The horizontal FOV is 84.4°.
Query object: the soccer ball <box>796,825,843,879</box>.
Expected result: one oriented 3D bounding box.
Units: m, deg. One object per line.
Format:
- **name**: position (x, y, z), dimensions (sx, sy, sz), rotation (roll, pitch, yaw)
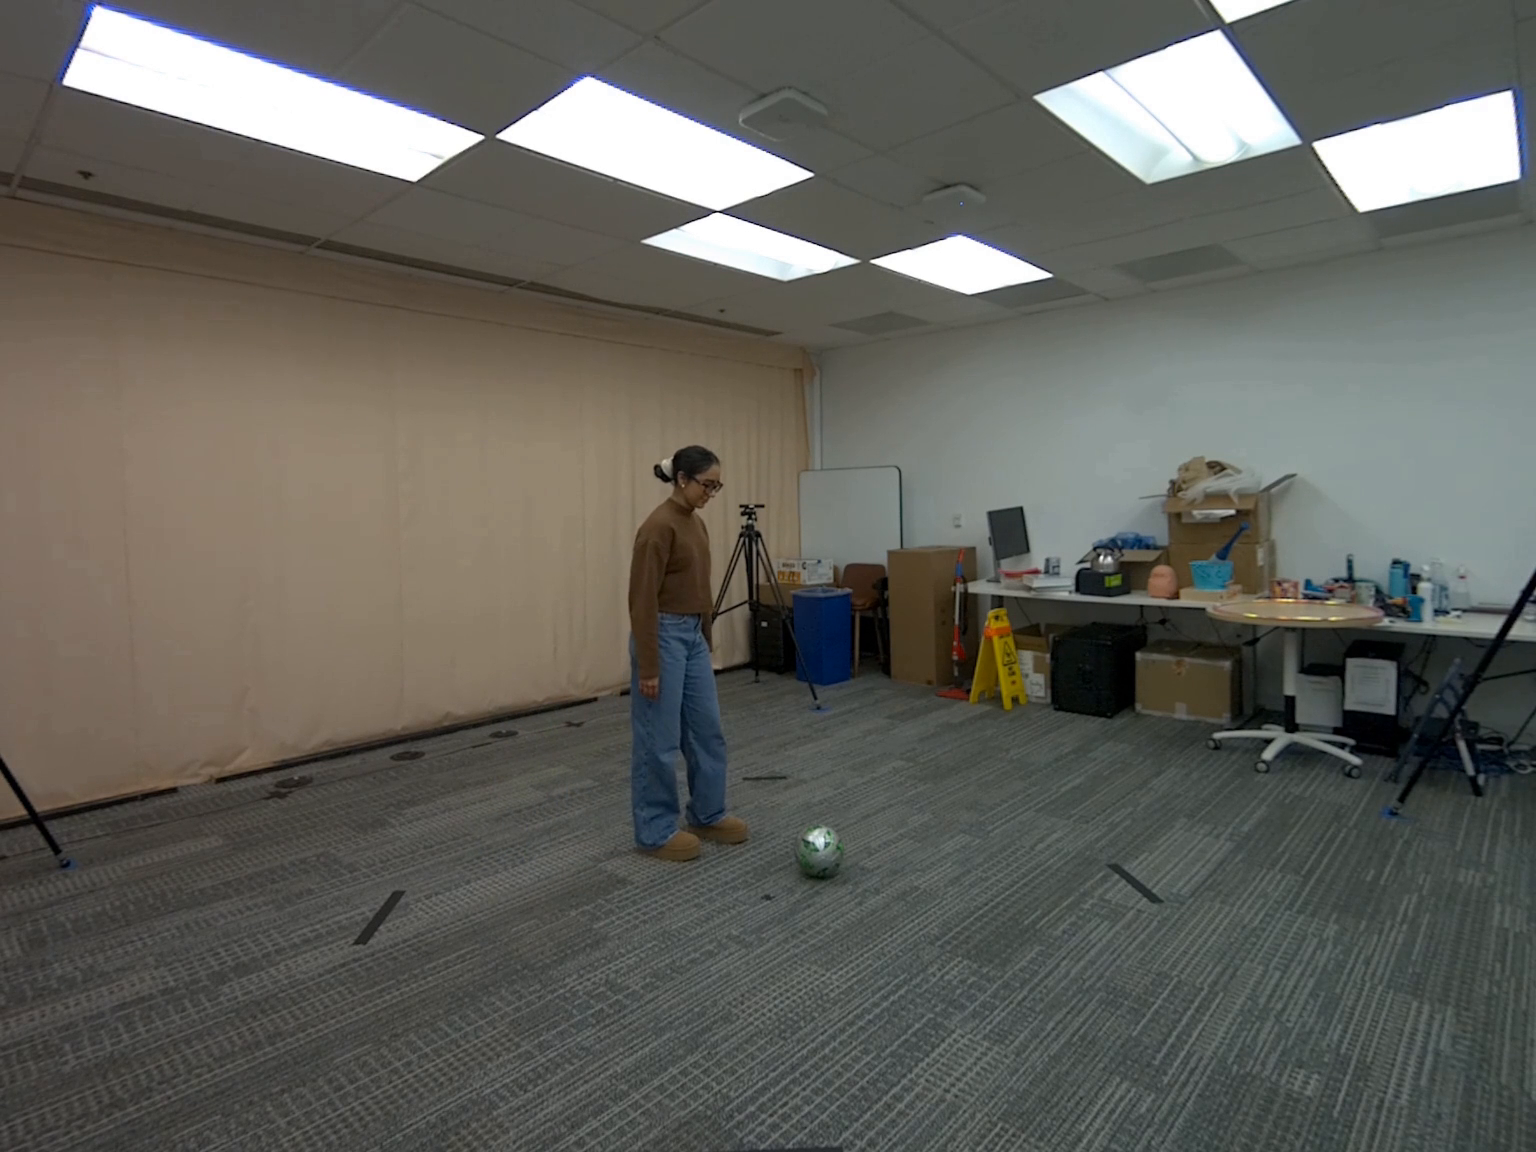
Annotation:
- **soccer ball**: position (0.195, 1.022, 3.151), dimensions (0.187, 0.187, 0.188), rotation (-1, 4, -2)
